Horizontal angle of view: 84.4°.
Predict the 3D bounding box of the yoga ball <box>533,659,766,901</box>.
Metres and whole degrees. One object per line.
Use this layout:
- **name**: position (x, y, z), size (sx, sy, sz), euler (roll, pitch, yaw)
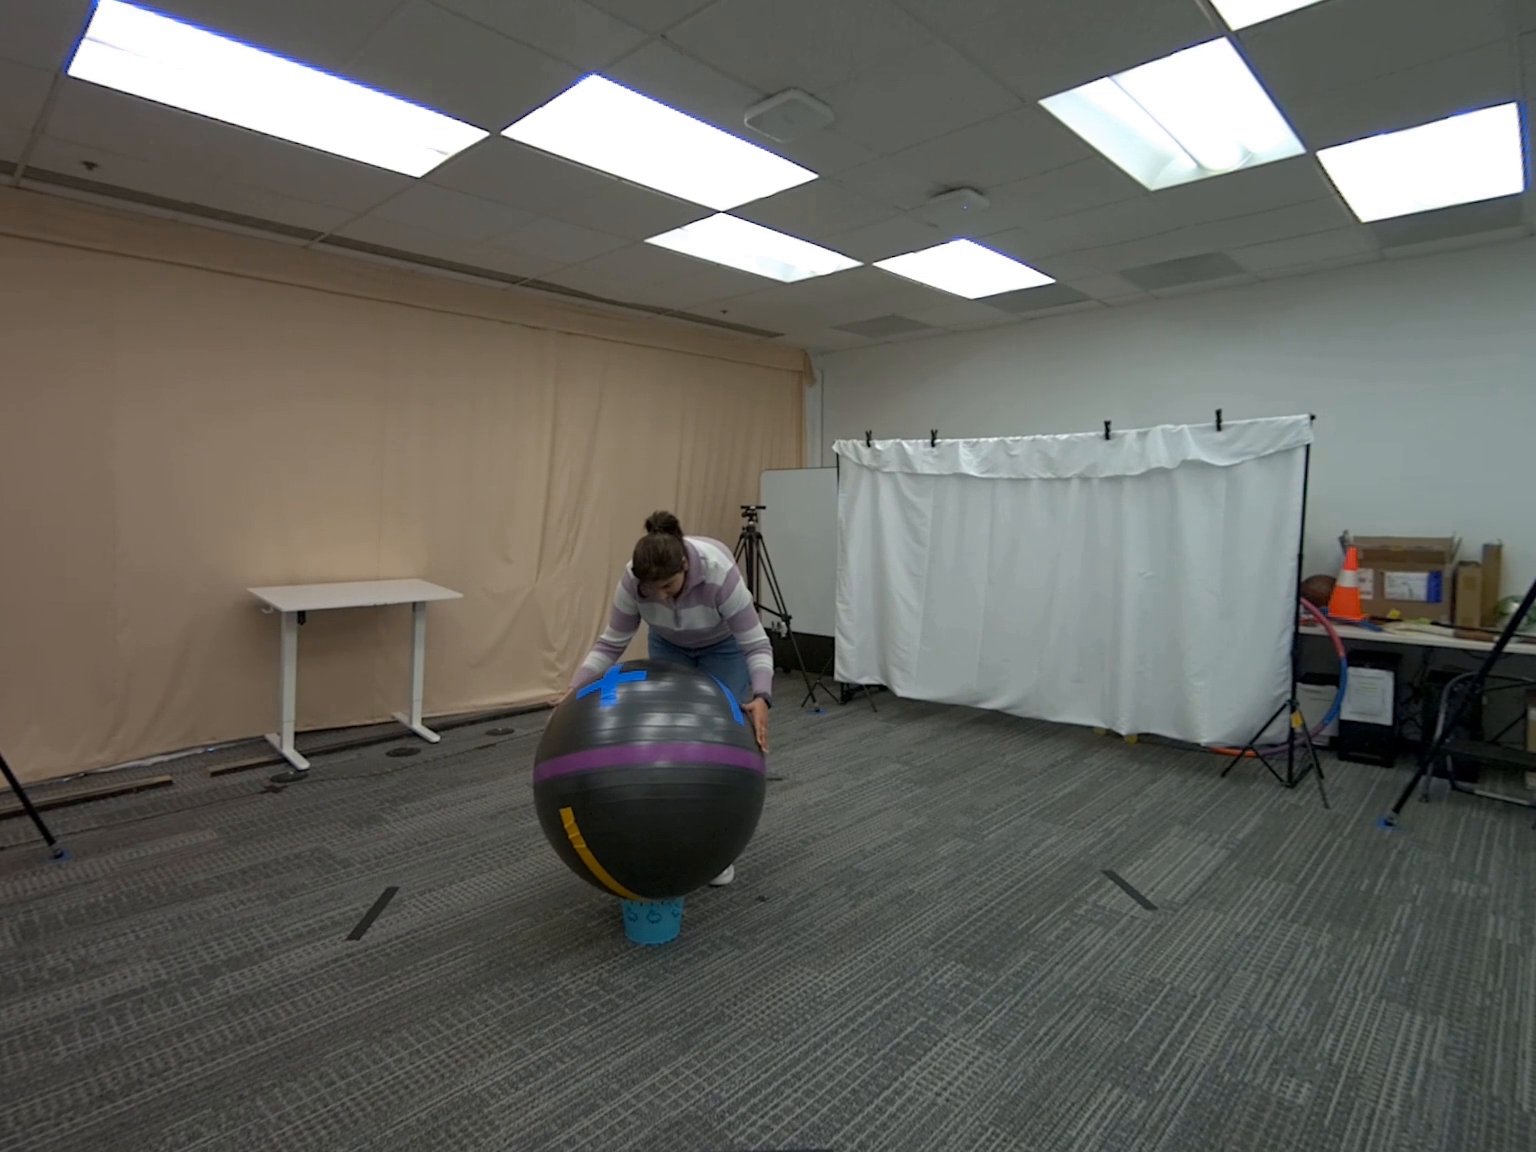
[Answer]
- **yoga ball**: position (-0.397, 0.660, 2.755), size (0.757, 0.756, 0.760), euler (0, 4, -2)
